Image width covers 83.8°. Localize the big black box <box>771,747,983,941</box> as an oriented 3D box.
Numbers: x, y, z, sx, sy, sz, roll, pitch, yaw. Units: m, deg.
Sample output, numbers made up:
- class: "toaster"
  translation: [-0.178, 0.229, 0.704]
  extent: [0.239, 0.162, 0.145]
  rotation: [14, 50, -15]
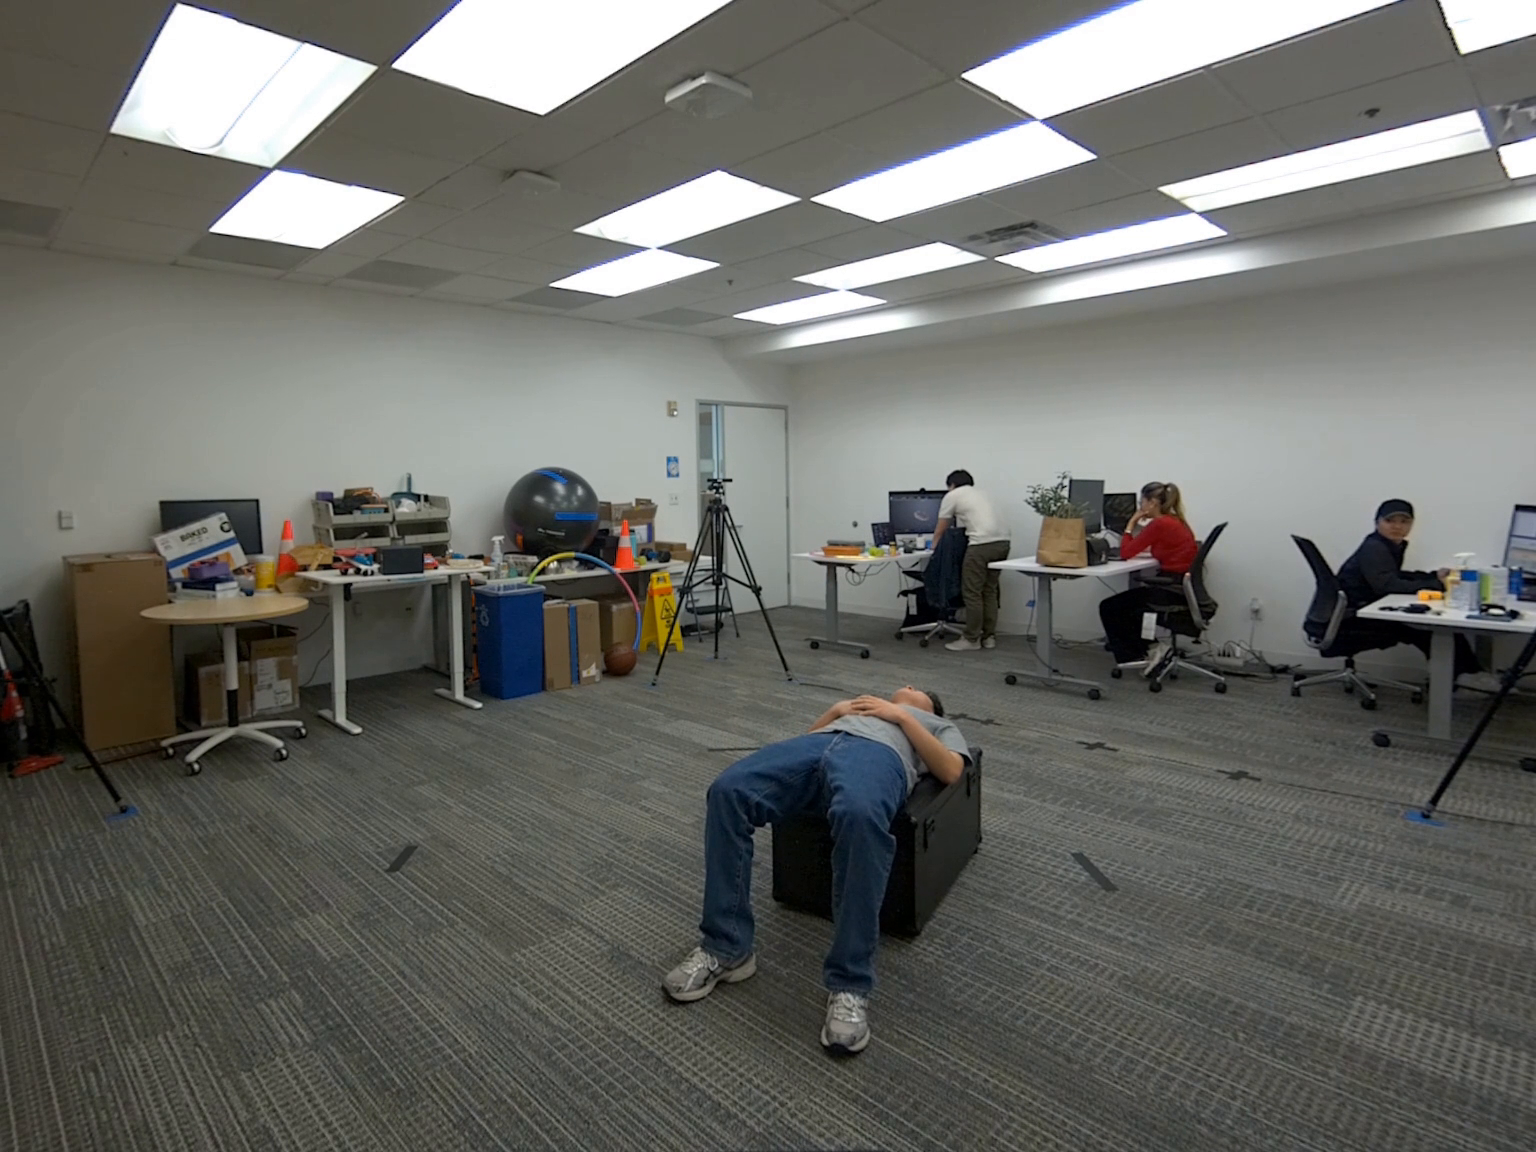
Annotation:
- class: "big black box"
  translation: [0.425, 0.866, 3.010]
  extent: [0.534, 0.394, 0.843]
  rotation: [1, 6, 29]
